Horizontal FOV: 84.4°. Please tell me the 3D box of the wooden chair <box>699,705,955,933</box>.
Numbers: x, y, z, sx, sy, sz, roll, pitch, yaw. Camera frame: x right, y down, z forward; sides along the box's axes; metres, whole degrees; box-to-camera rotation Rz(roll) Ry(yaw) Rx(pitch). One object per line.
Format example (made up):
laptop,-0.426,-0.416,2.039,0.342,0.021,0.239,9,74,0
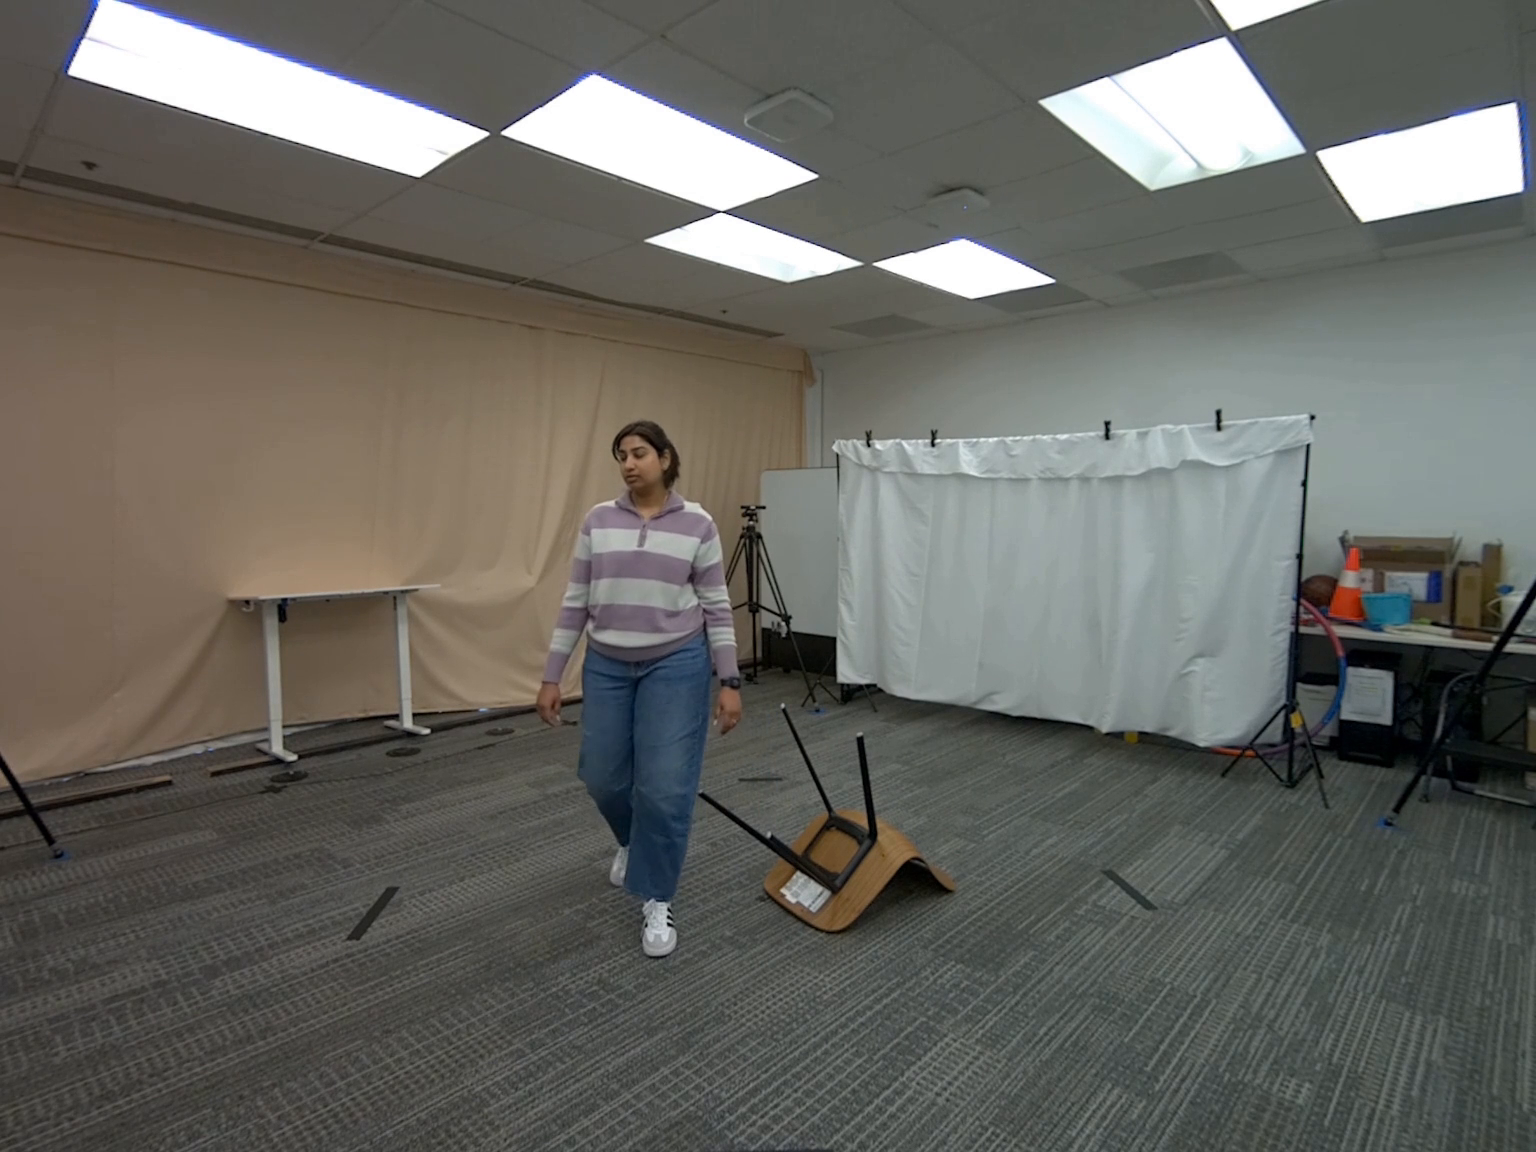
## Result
wooden chair,0.231,0.973,2.974,0.520,0.856,0.492,-46,25,-22
